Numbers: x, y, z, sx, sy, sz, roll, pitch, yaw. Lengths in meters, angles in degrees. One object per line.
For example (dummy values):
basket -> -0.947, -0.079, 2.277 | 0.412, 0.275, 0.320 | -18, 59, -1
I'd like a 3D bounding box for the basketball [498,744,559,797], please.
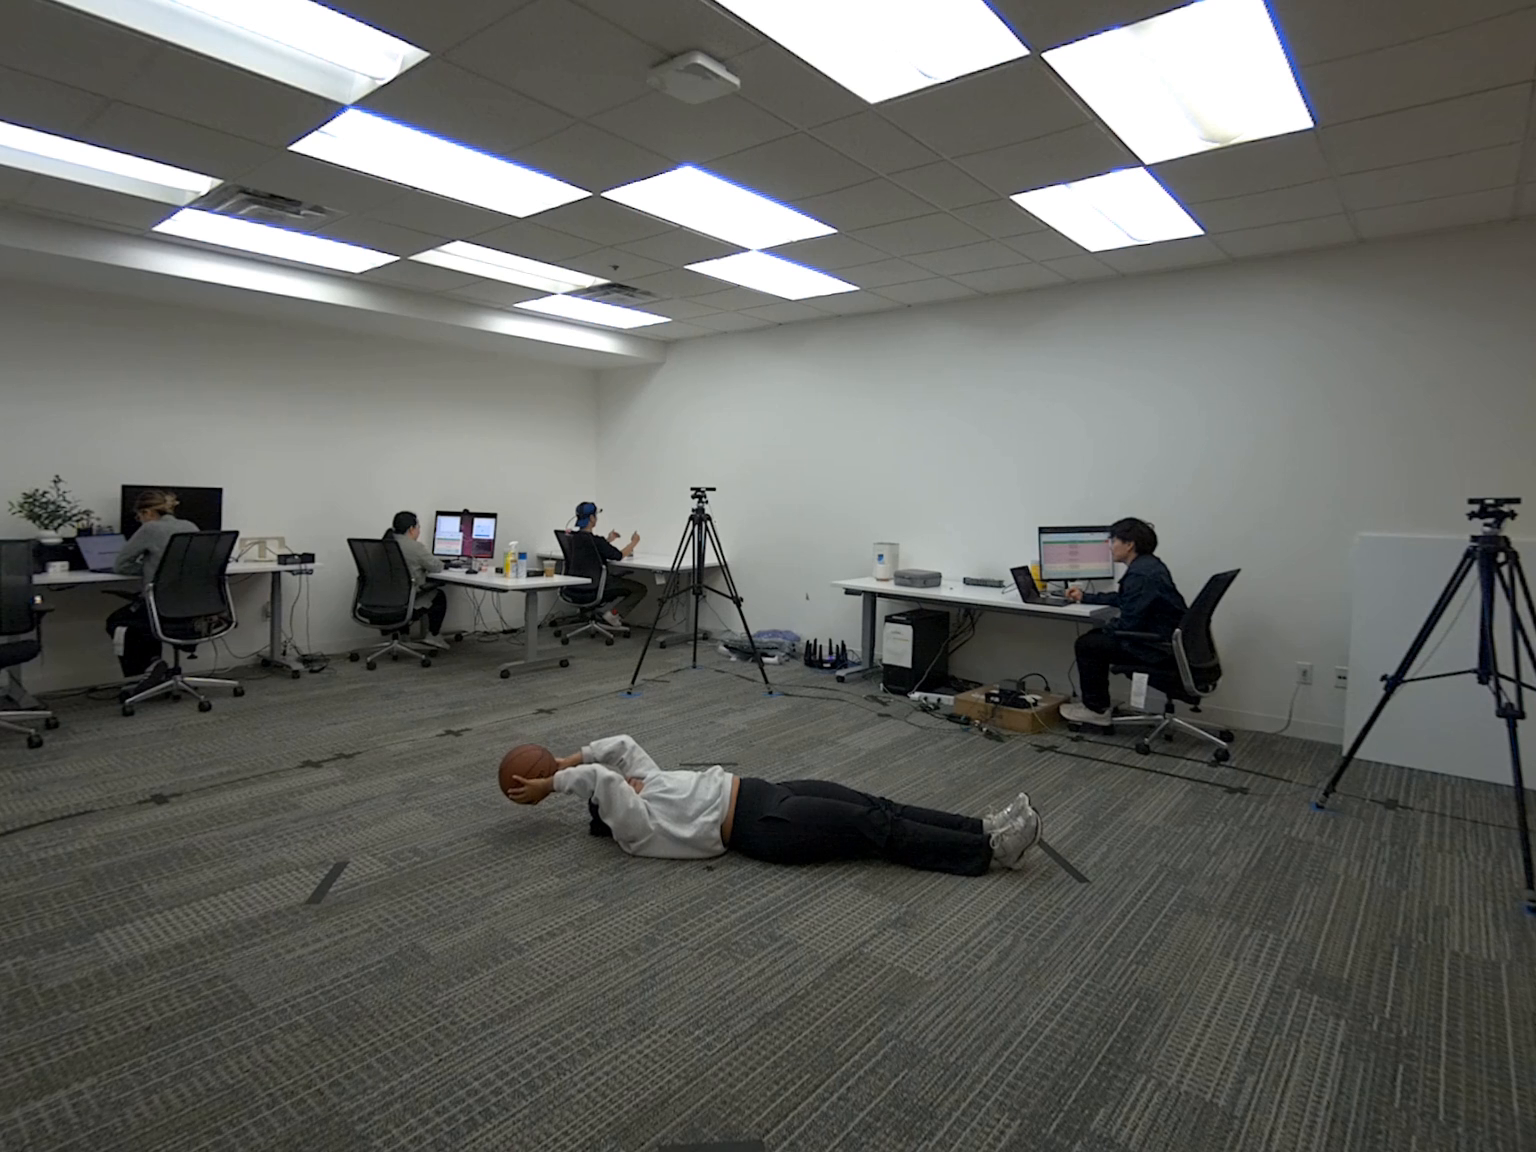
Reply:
basketball -> -0.988, 0.799, 3.458 | 0.236, 0.235, 0.237 | 0, 4, -2
